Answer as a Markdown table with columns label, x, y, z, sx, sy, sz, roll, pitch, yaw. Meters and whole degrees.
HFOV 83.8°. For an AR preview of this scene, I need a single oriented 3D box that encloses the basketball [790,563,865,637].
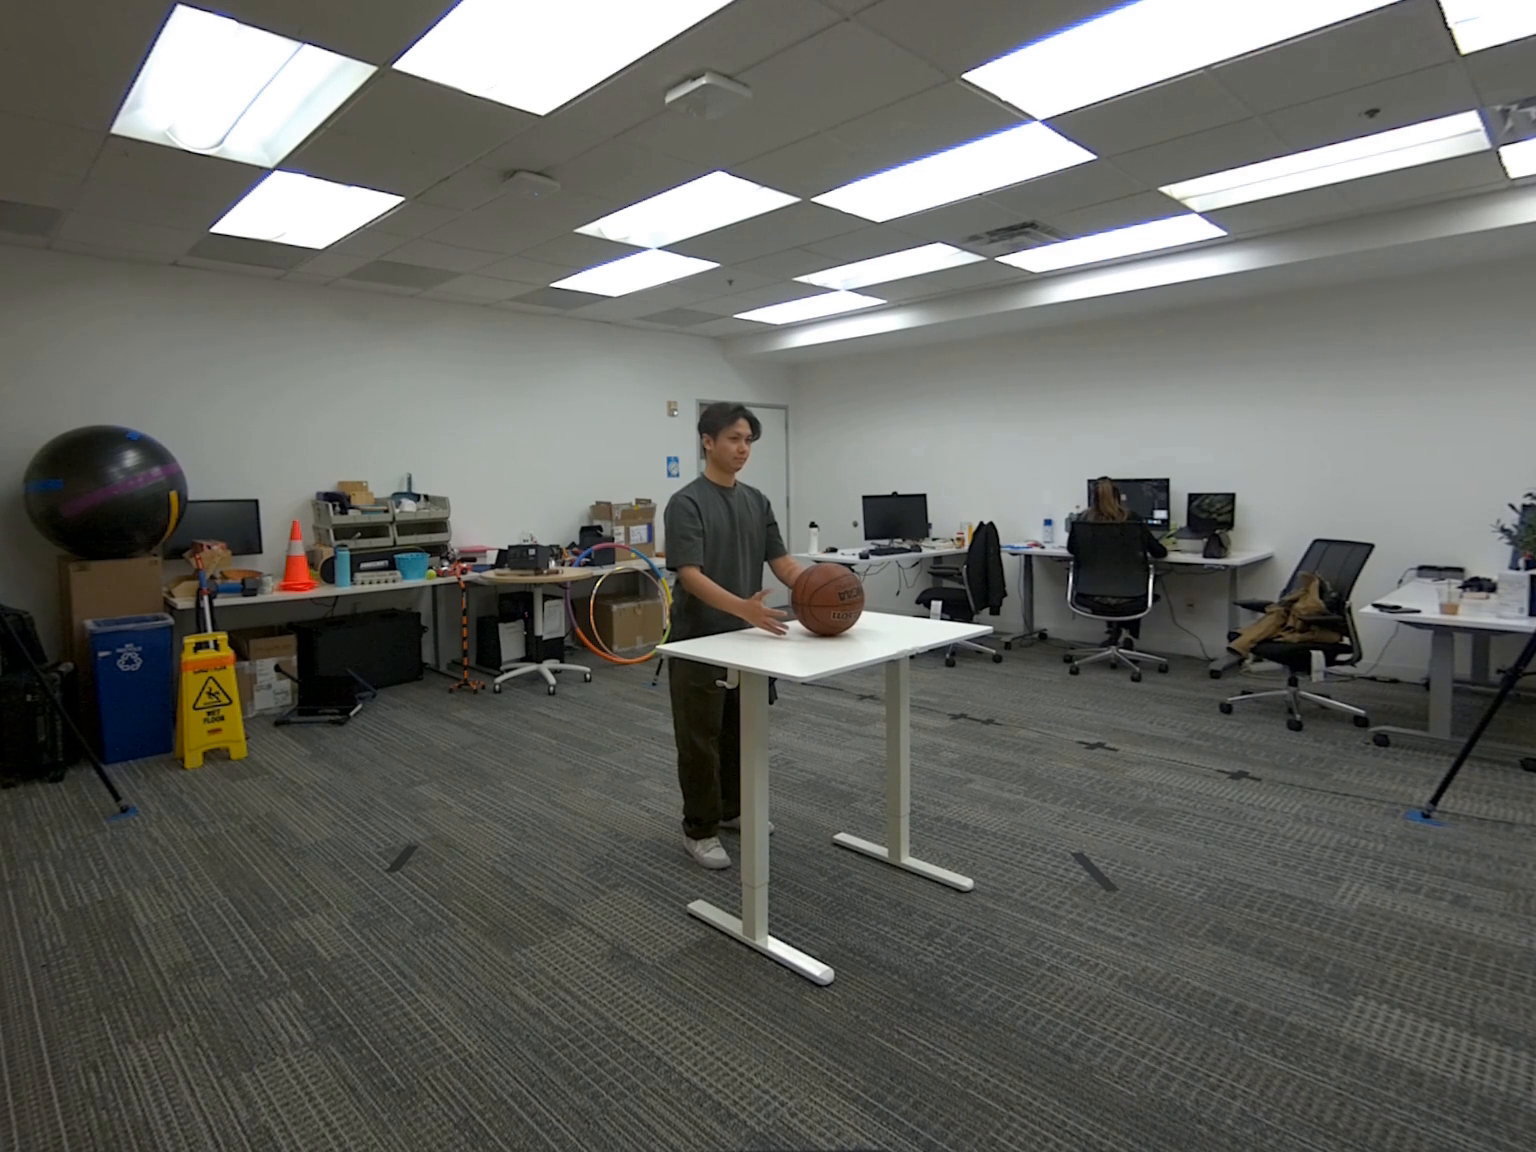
| label | x | y | z | sx | sy | sz | roll | pitch | yaw |
| --- | --- | --- | --- | --- | --- | --- | --- | --- | --- |
| basketball | 0.192 | 0.076 | 2.795 | 0.236 | 0.235 | 0.237 | -1 | 5 | -2 |
